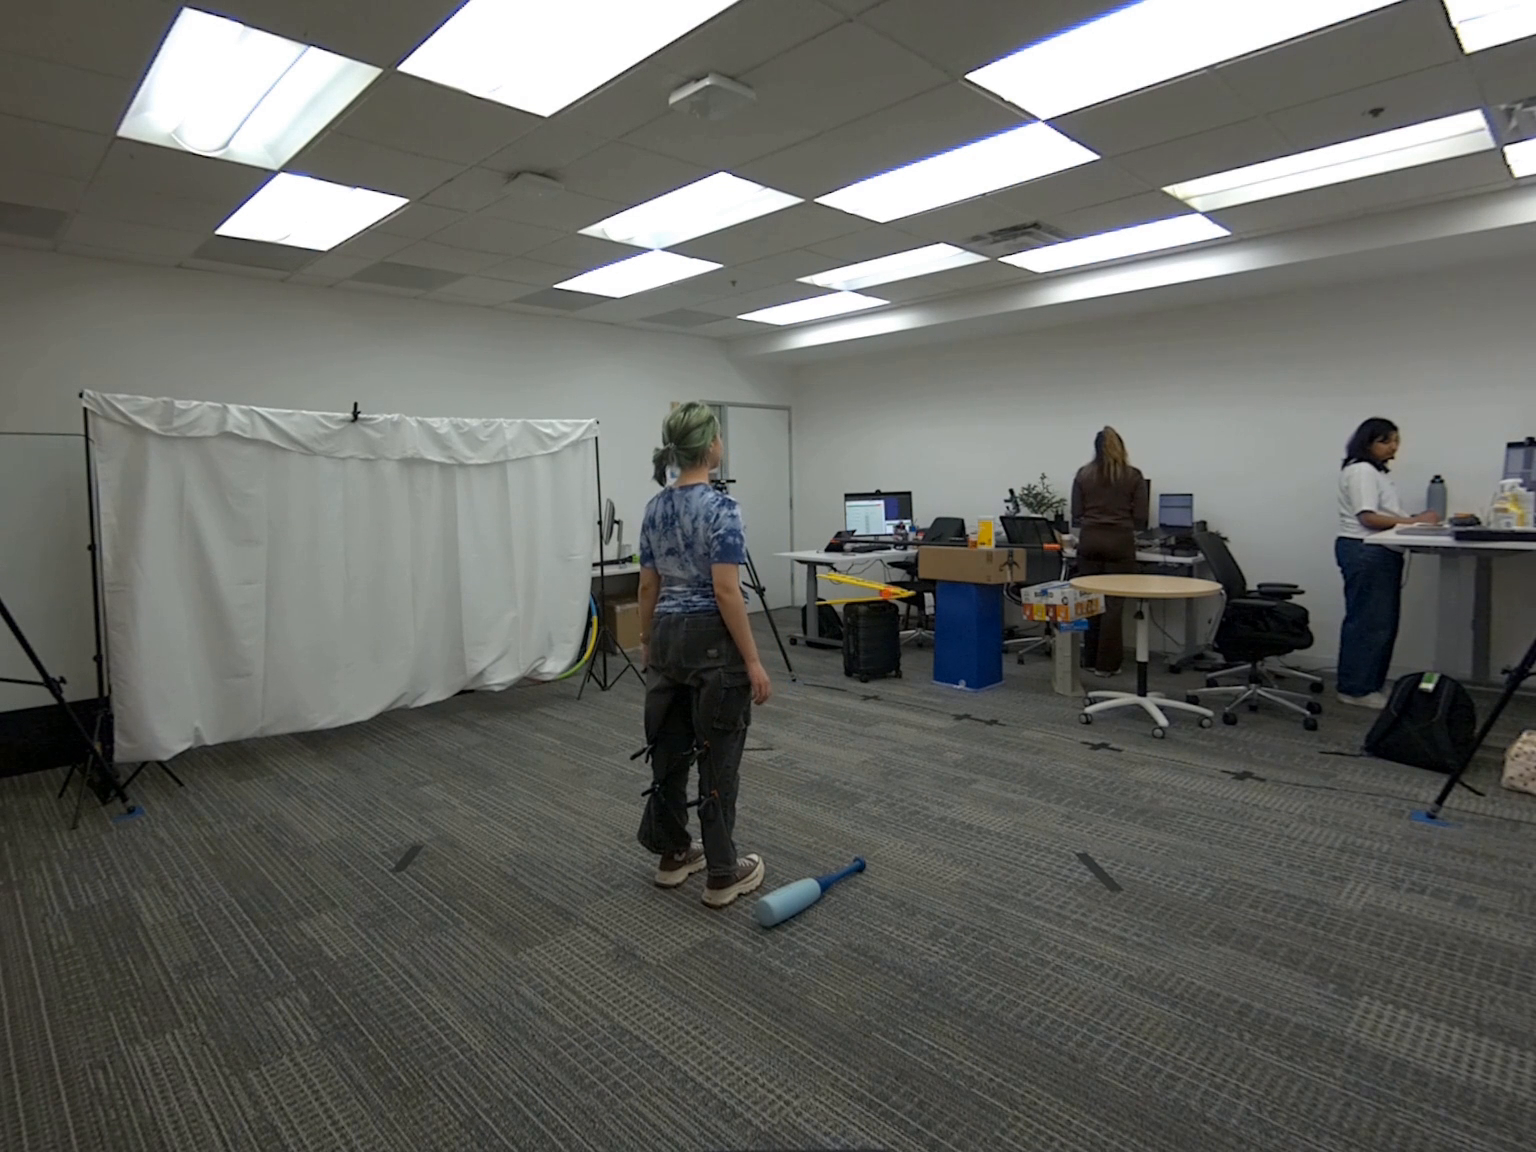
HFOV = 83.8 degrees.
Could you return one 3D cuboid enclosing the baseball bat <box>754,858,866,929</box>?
[{"bbox_3d":[0.160,1.037,2.840,0.092,0.089,0.528,3,4,41],"label":"baseball bat"}]
